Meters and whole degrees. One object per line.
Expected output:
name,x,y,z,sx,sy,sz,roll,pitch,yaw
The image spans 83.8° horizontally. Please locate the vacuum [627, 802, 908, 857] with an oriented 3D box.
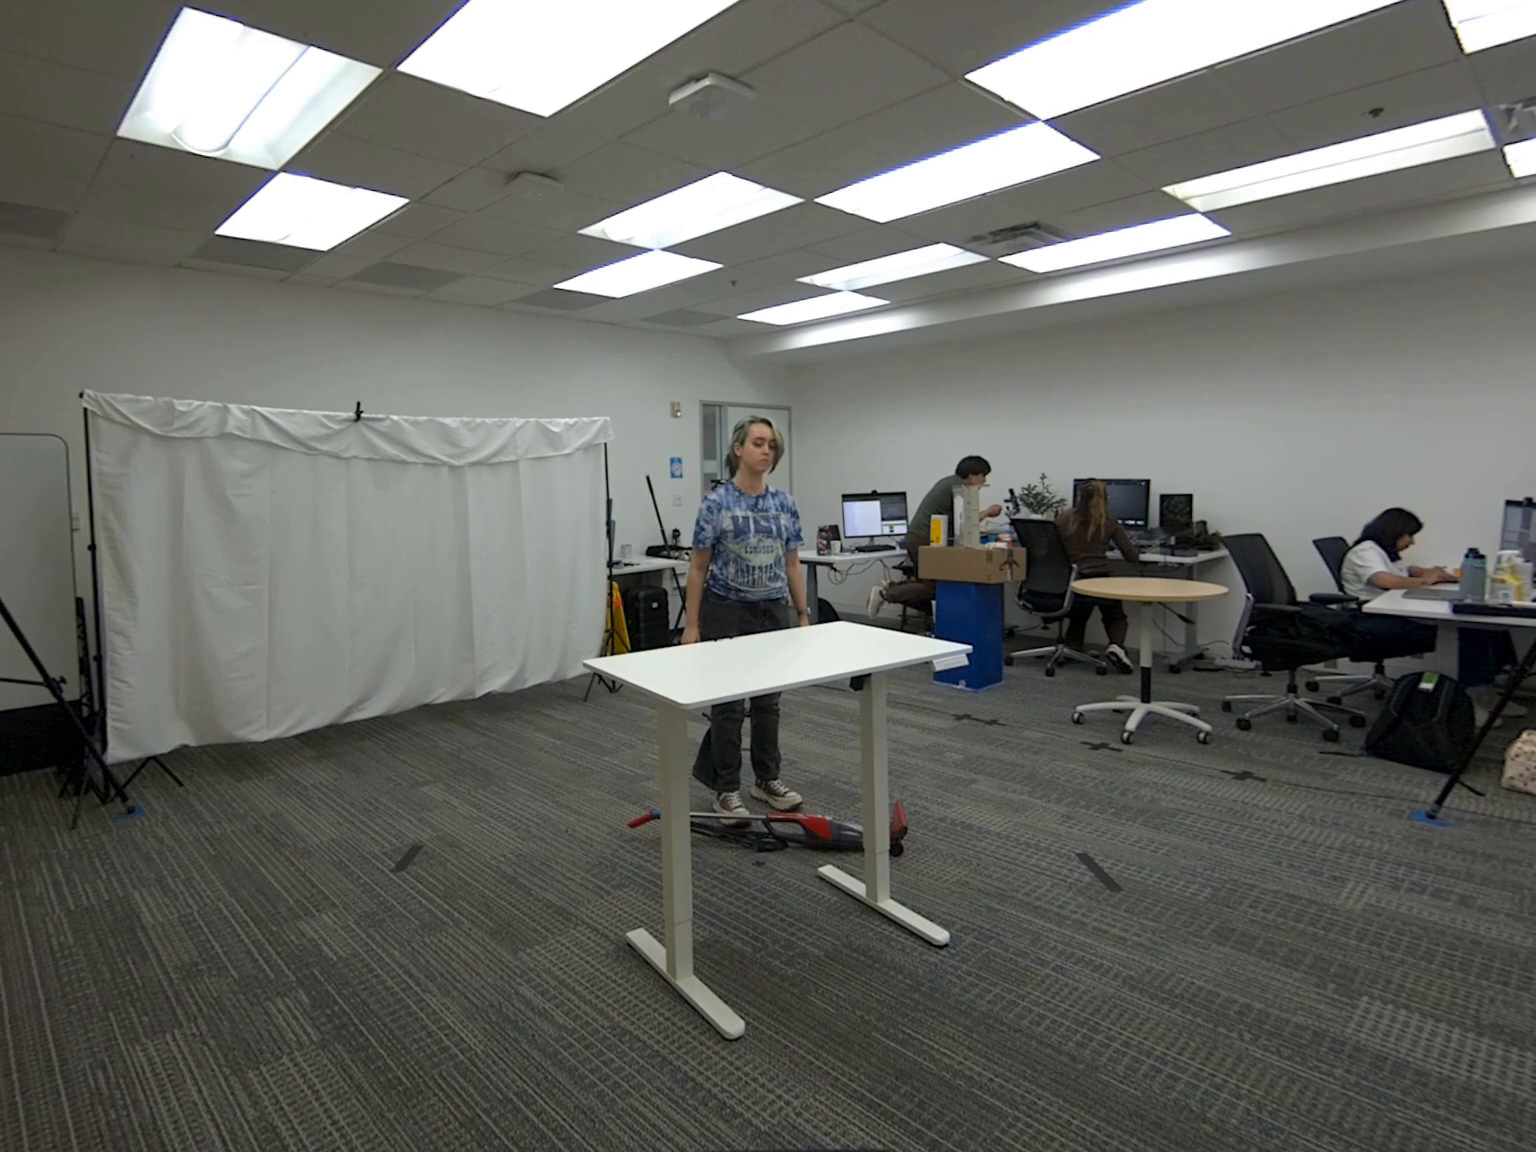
vacuum,-0.017,0.968,3.252,1.055,0.143,0.252,-2,5,5
